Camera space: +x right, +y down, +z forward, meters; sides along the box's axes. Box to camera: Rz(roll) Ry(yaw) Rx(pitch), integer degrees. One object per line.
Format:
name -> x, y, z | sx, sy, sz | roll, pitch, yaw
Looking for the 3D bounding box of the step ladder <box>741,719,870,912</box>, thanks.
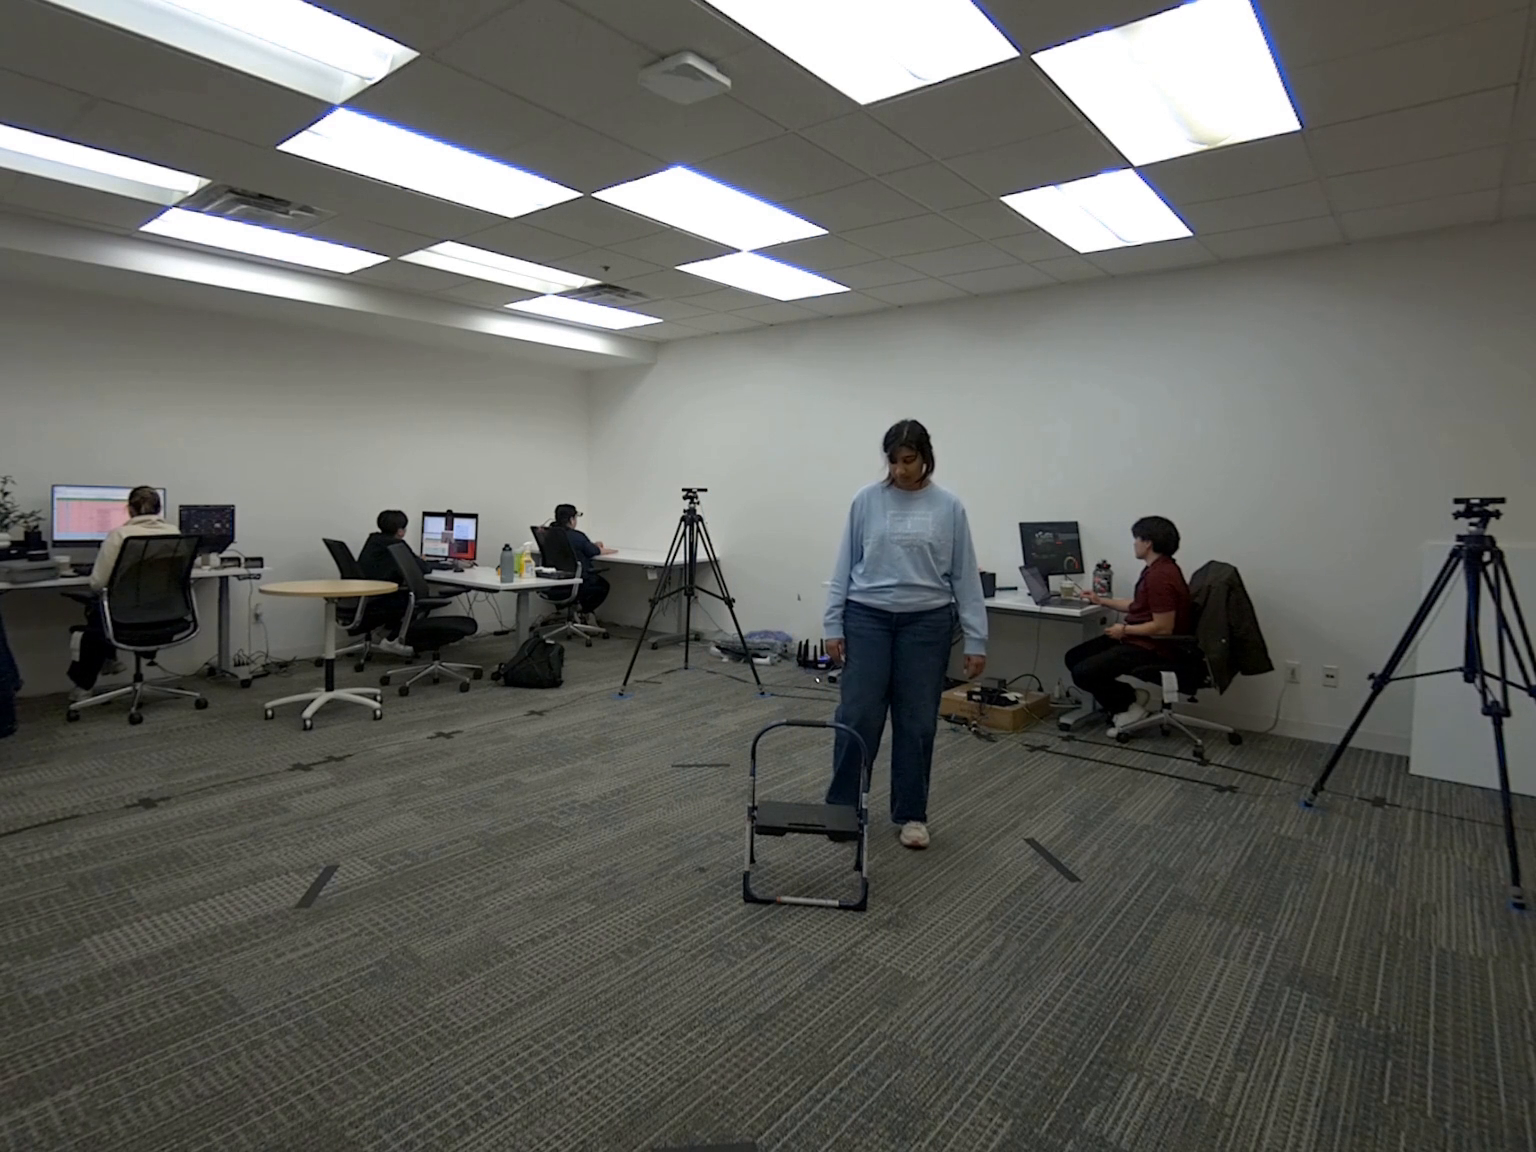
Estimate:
step ladder -> 0.129, 0.786, 2.989 | 0.433, 0.604, 0.348 | 2, 3, 4
